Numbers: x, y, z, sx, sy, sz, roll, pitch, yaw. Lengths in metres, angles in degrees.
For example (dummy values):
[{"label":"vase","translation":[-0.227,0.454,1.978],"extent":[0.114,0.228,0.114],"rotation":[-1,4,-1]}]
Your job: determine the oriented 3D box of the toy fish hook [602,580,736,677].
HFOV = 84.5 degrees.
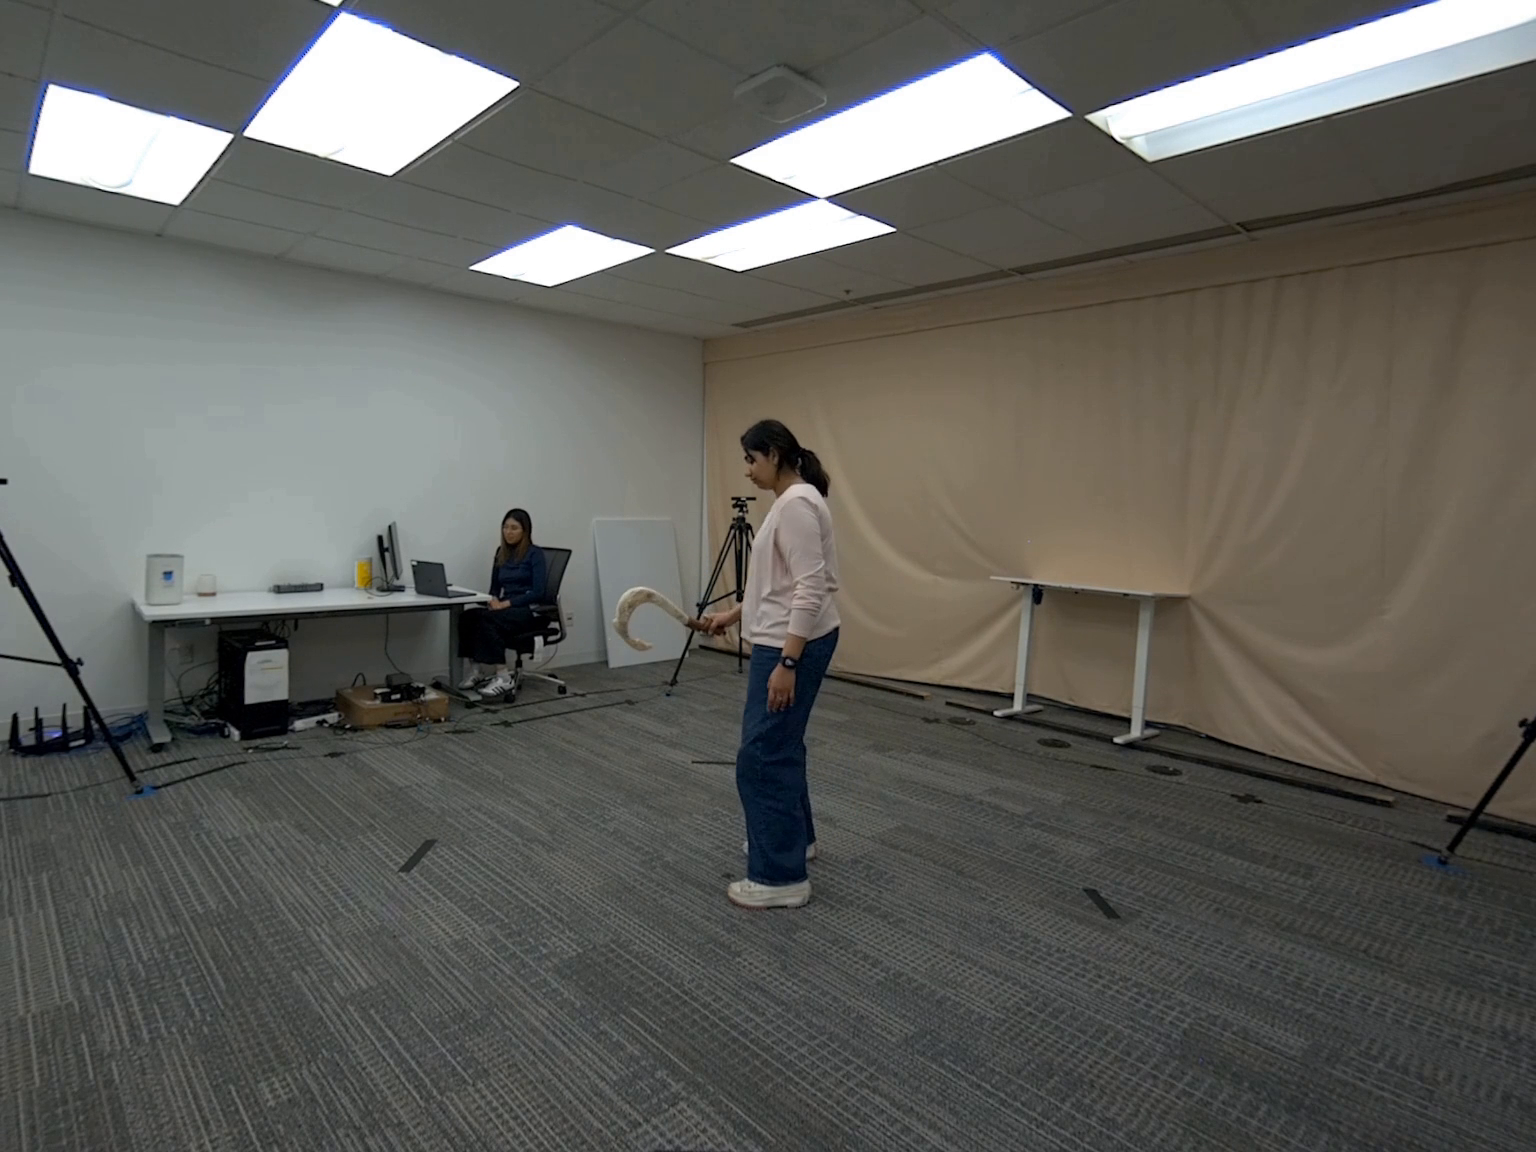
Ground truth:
[{"label":"toy fish hook","translation":[-0.357,0.200,3.150],"extent":[0.492,0.225,0.049],"rotation":[23,-5,-37]}]
